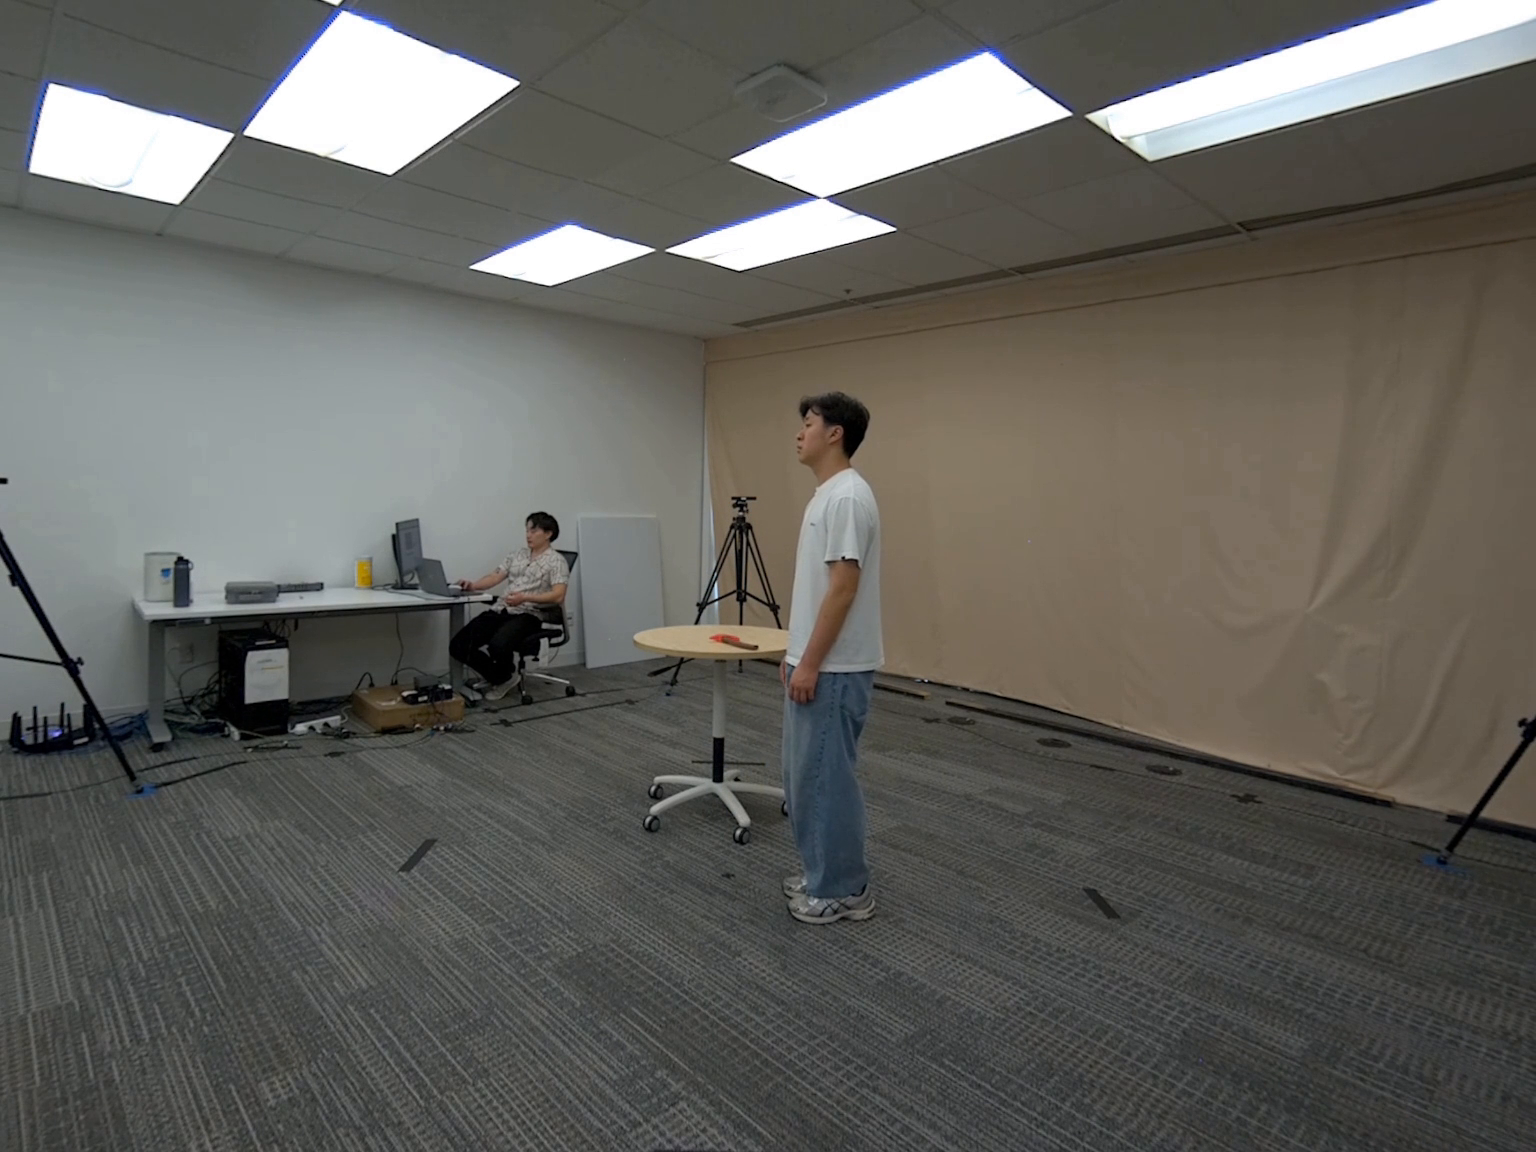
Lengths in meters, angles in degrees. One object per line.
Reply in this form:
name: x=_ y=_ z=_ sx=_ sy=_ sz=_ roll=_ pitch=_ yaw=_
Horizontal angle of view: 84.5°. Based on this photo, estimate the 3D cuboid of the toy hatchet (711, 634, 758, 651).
toy hatchet: x=-0.123 y=0.275 z=3.509 sx=0.128 sy=0.029 sz=0.277 roll=2 pitch=5 yaw=-44
